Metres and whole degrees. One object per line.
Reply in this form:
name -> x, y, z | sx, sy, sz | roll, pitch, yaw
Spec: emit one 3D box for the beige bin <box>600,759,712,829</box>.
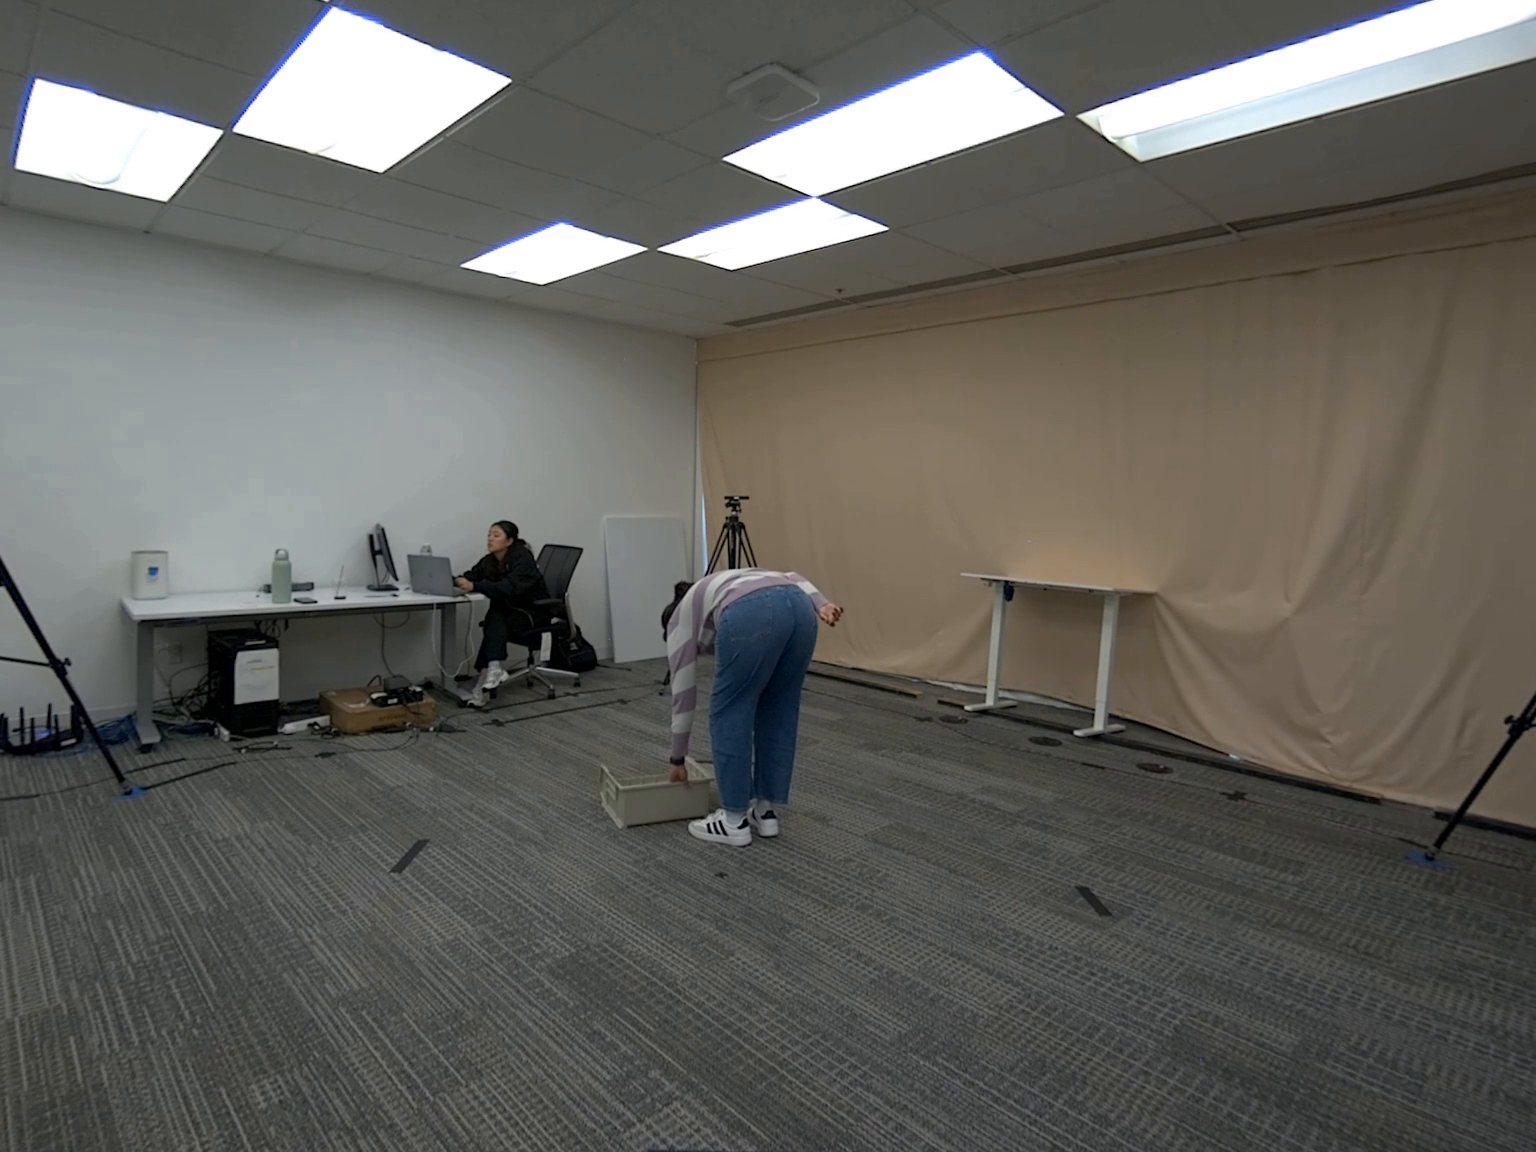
beige bin -> -0.512, 0.948, 3.746 | 0.415, 0.188, 0.385 | 0, 7, -24
